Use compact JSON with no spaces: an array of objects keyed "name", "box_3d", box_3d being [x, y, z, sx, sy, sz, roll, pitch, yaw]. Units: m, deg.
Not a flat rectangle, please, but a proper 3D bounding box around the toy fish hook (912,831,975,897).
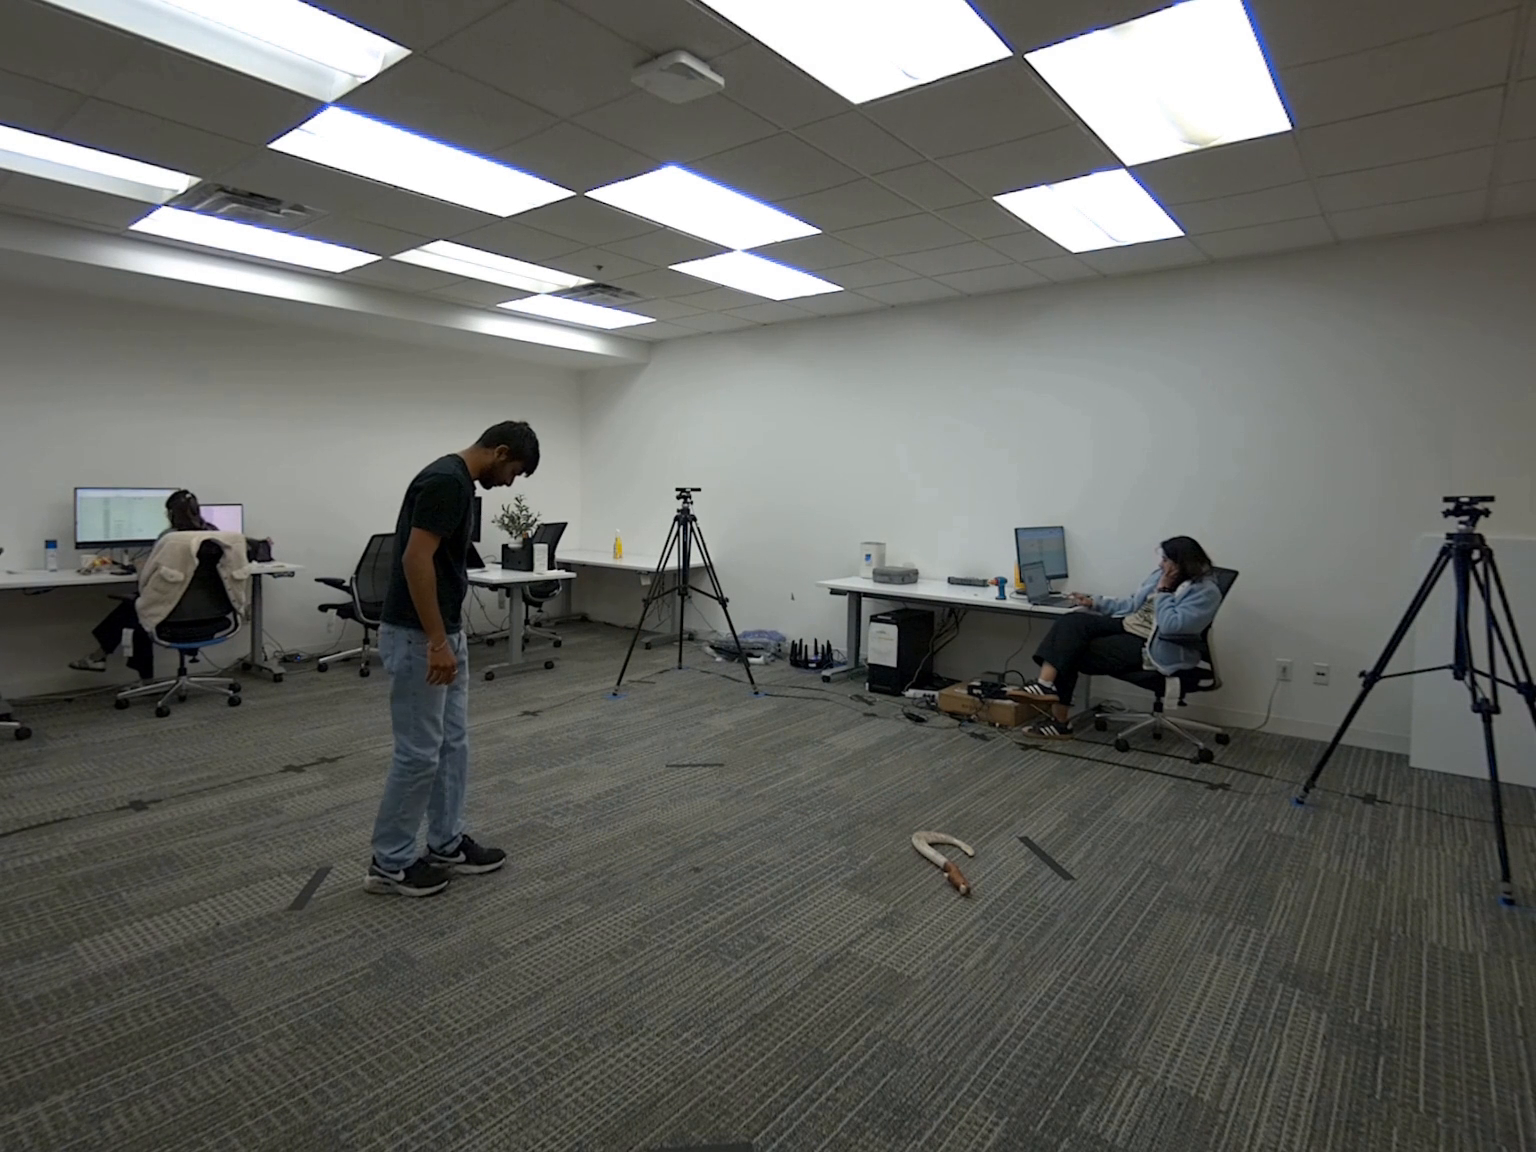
[{"name":"toy fish hook","box_3d":[0.694,1.061,3.176,0.223,0.048,0.513,0,6,-8]}]
